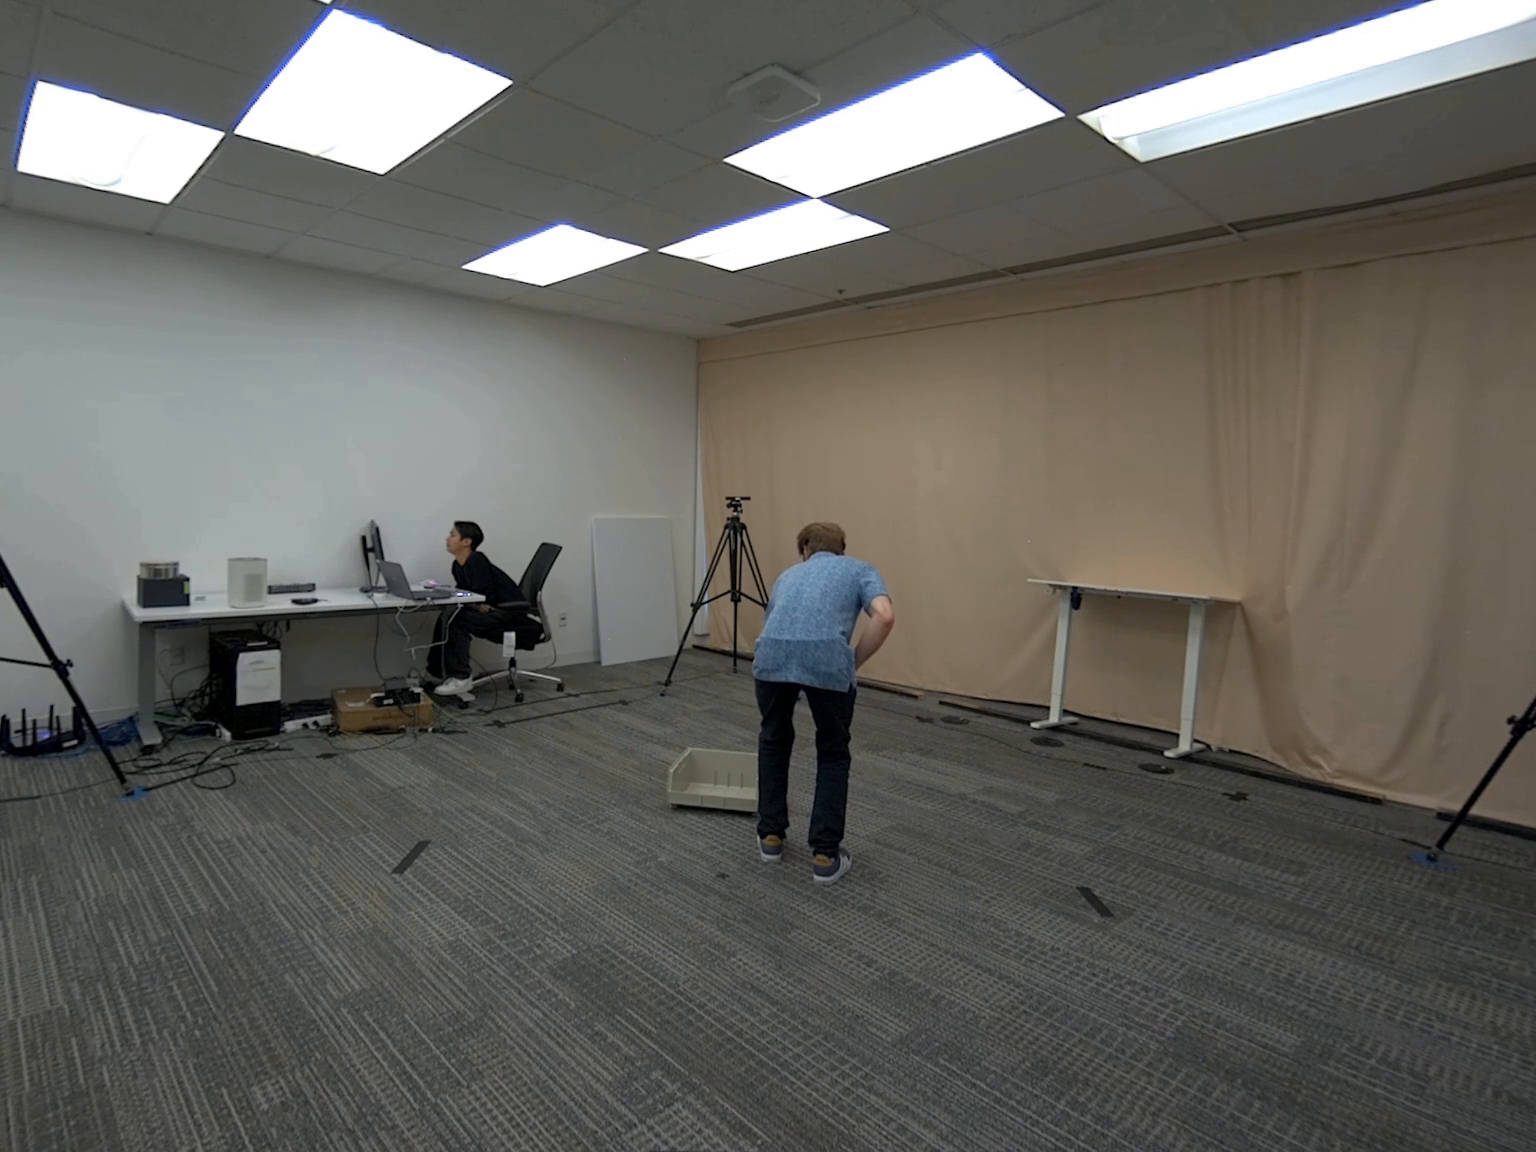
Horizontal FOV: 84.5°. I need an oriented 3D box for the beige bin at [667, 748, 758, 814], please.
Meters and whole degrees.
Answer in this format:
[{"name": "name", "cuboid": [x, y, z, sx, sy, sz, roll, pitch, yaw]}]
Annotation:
[{"name": "beige bin", "cuboid": [-0.224, 0.950, 3.881, 0.426, 0.188, 0.375, 2, 4, 10]}]
